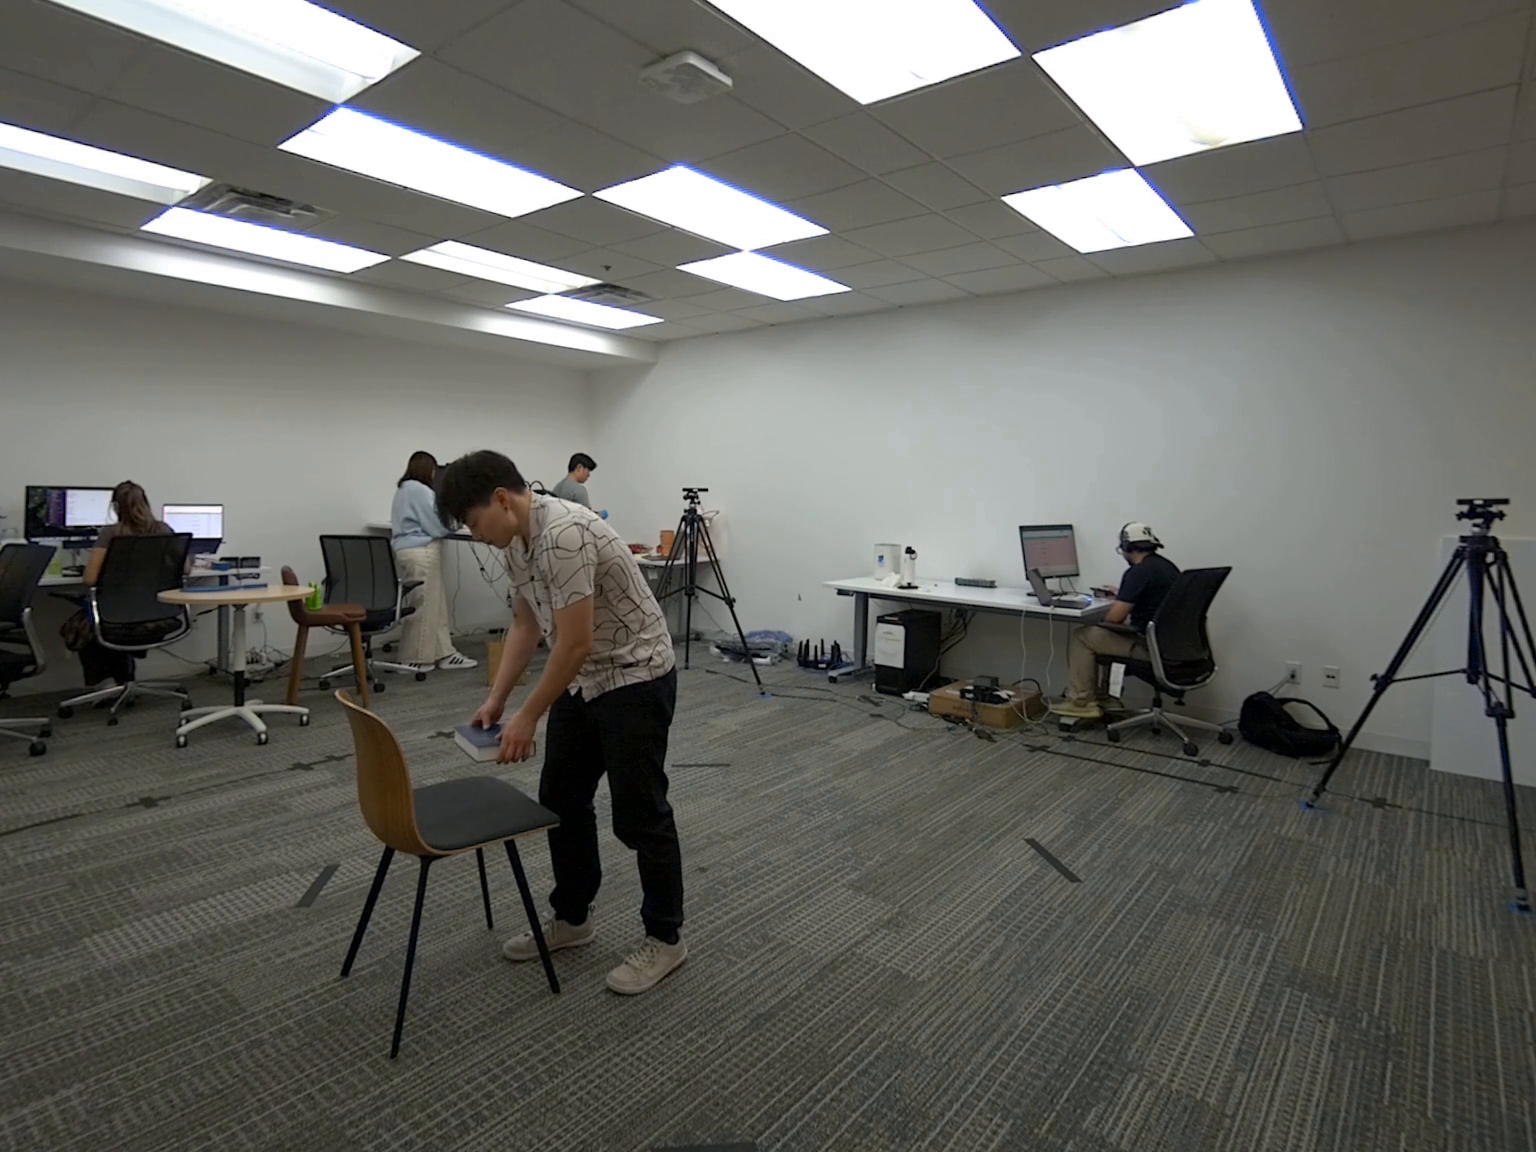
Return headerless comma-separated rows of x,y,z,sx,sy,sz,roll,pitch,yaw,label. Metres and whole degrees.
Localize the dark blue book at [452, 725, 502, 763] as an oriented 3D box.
-0.787,0.461,2.385,0.159,0.045,0.252,4,1,-30,dark blue book
